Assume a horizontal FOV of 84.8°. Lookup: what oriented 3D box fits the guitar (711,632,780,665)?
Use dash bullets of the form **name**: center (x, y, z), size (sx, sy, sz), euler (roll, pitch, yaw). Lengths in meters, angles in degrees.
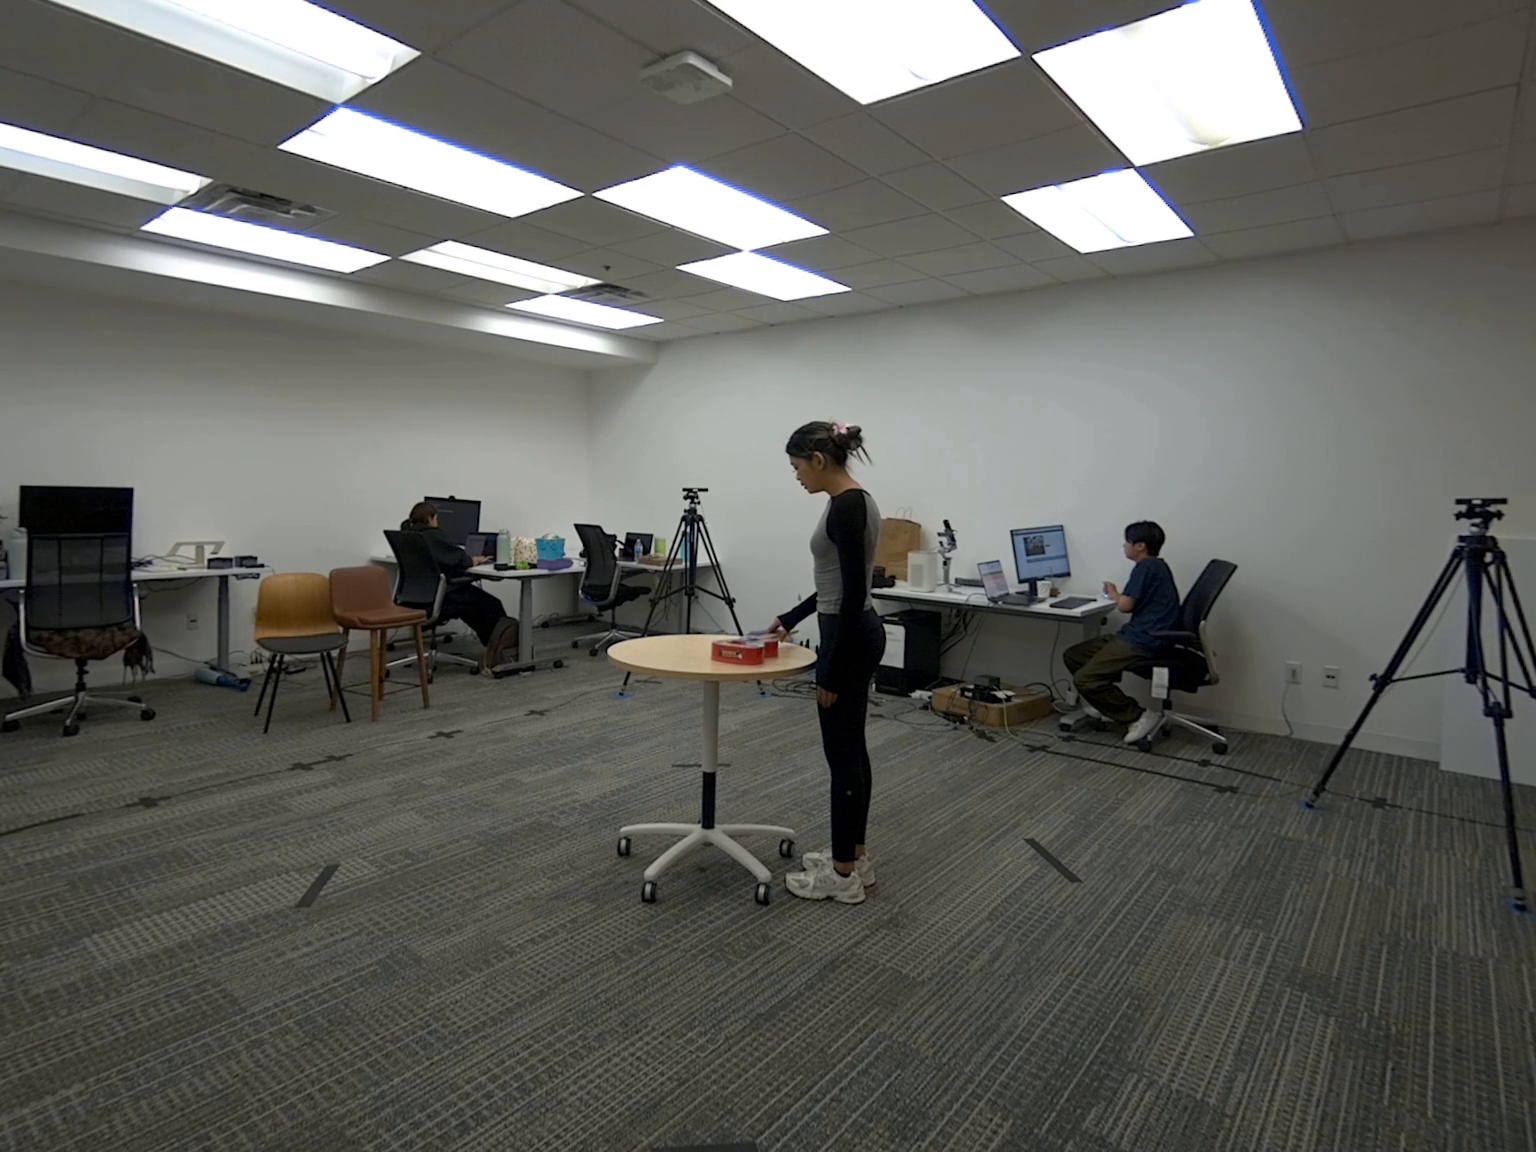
- **guitar**: center (0.001, 0.250, 3.105), size (0.199, 0.070, 0.483), euler (5, 6, 38)
